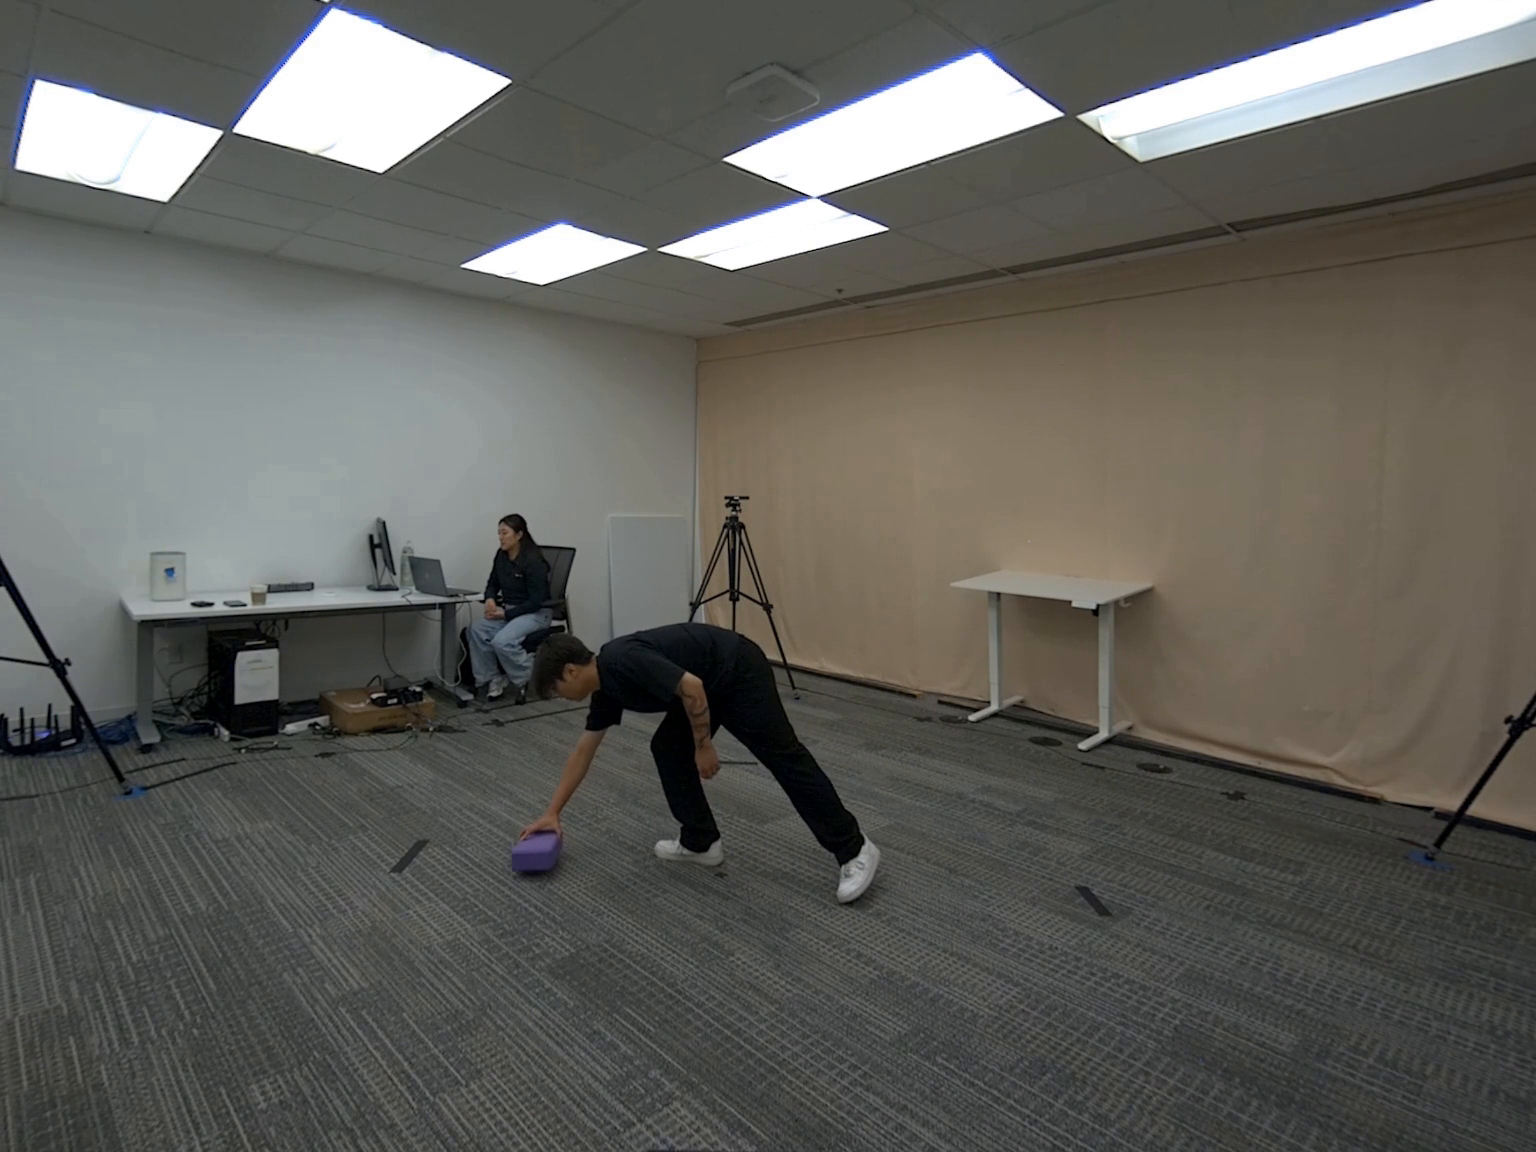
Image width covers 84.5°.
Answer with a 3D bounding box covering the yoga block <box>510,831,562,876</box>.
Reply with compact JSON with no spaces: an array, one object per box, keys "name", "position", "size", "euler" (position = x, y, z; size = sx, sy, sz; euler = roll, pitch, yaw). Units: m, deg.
[{"name":"yoga block","position":[-0.857,1.019,3.134],"size":[0.149,0.076,0.230],"euler":[-2,3,-2]}]
